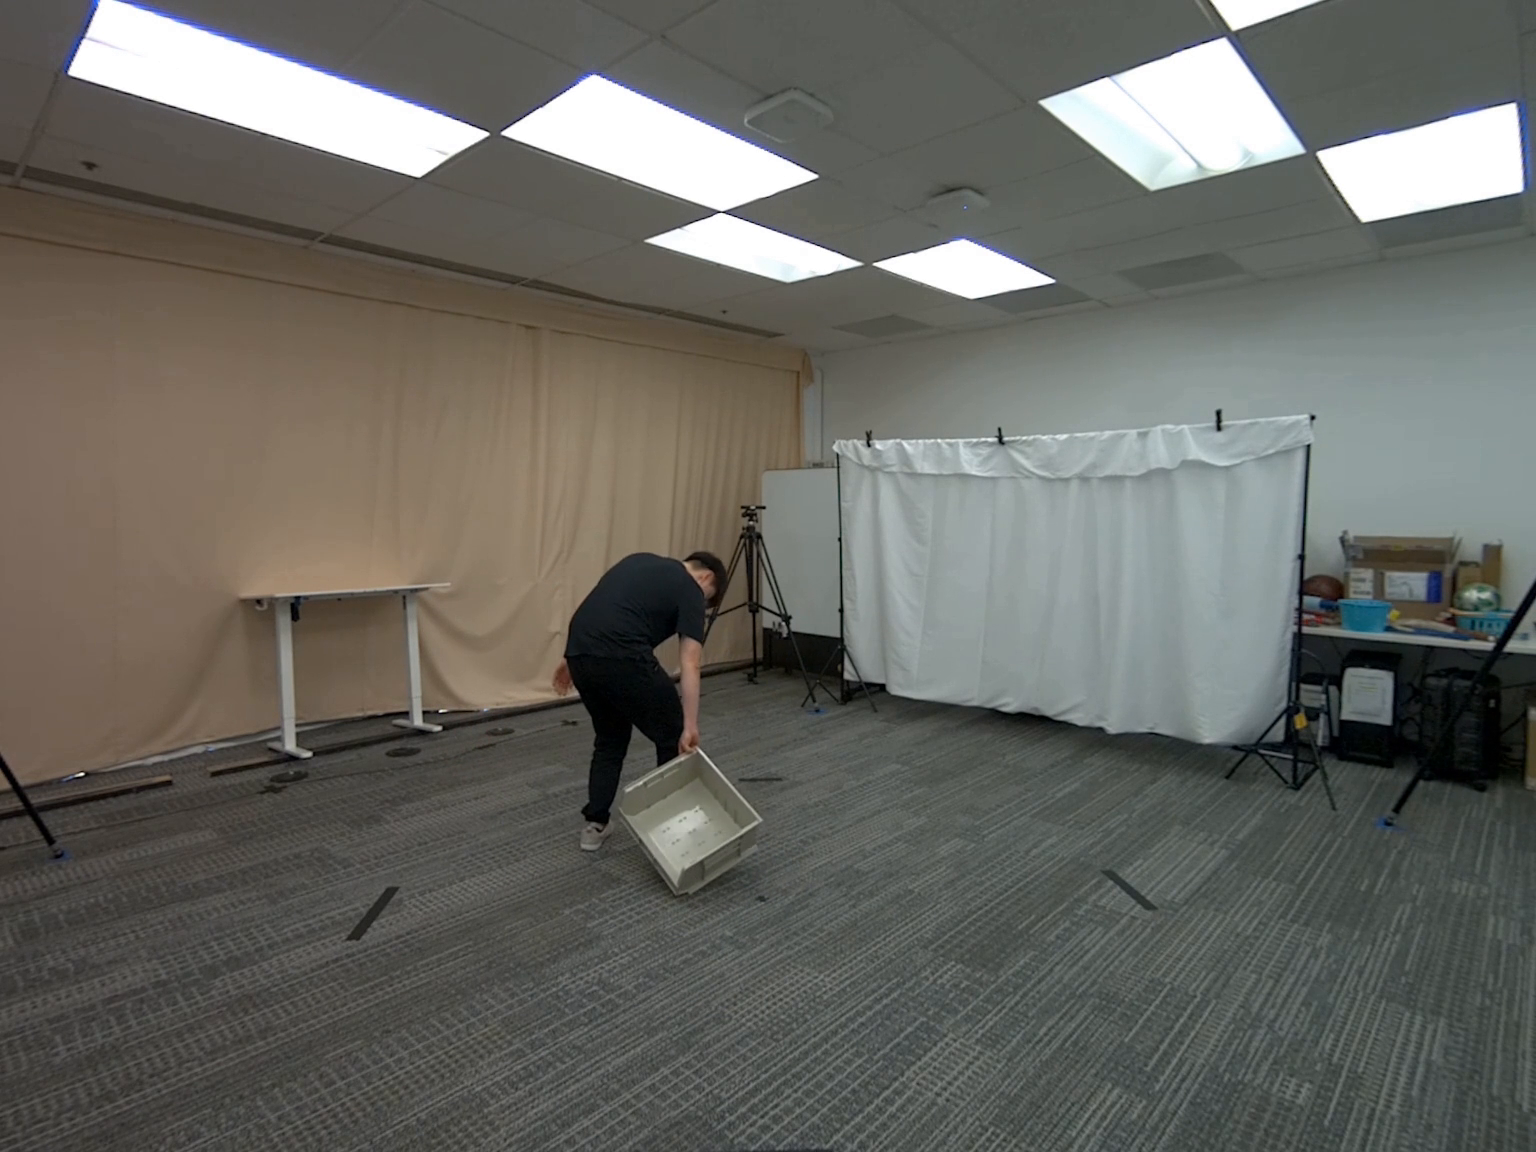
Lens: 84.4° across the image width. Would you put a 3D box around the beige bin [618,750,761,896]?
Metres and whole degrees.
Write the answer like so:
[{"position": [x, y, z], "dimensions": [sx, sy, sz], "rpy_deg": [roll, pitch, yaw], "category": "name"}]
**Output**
[{"position": [-0.296, 0.918, 3.159], "dimensions": [0.370, 0.185, 0.438], "rpy_deg": [-25, 44, -30], "category": "beige bin"}]
